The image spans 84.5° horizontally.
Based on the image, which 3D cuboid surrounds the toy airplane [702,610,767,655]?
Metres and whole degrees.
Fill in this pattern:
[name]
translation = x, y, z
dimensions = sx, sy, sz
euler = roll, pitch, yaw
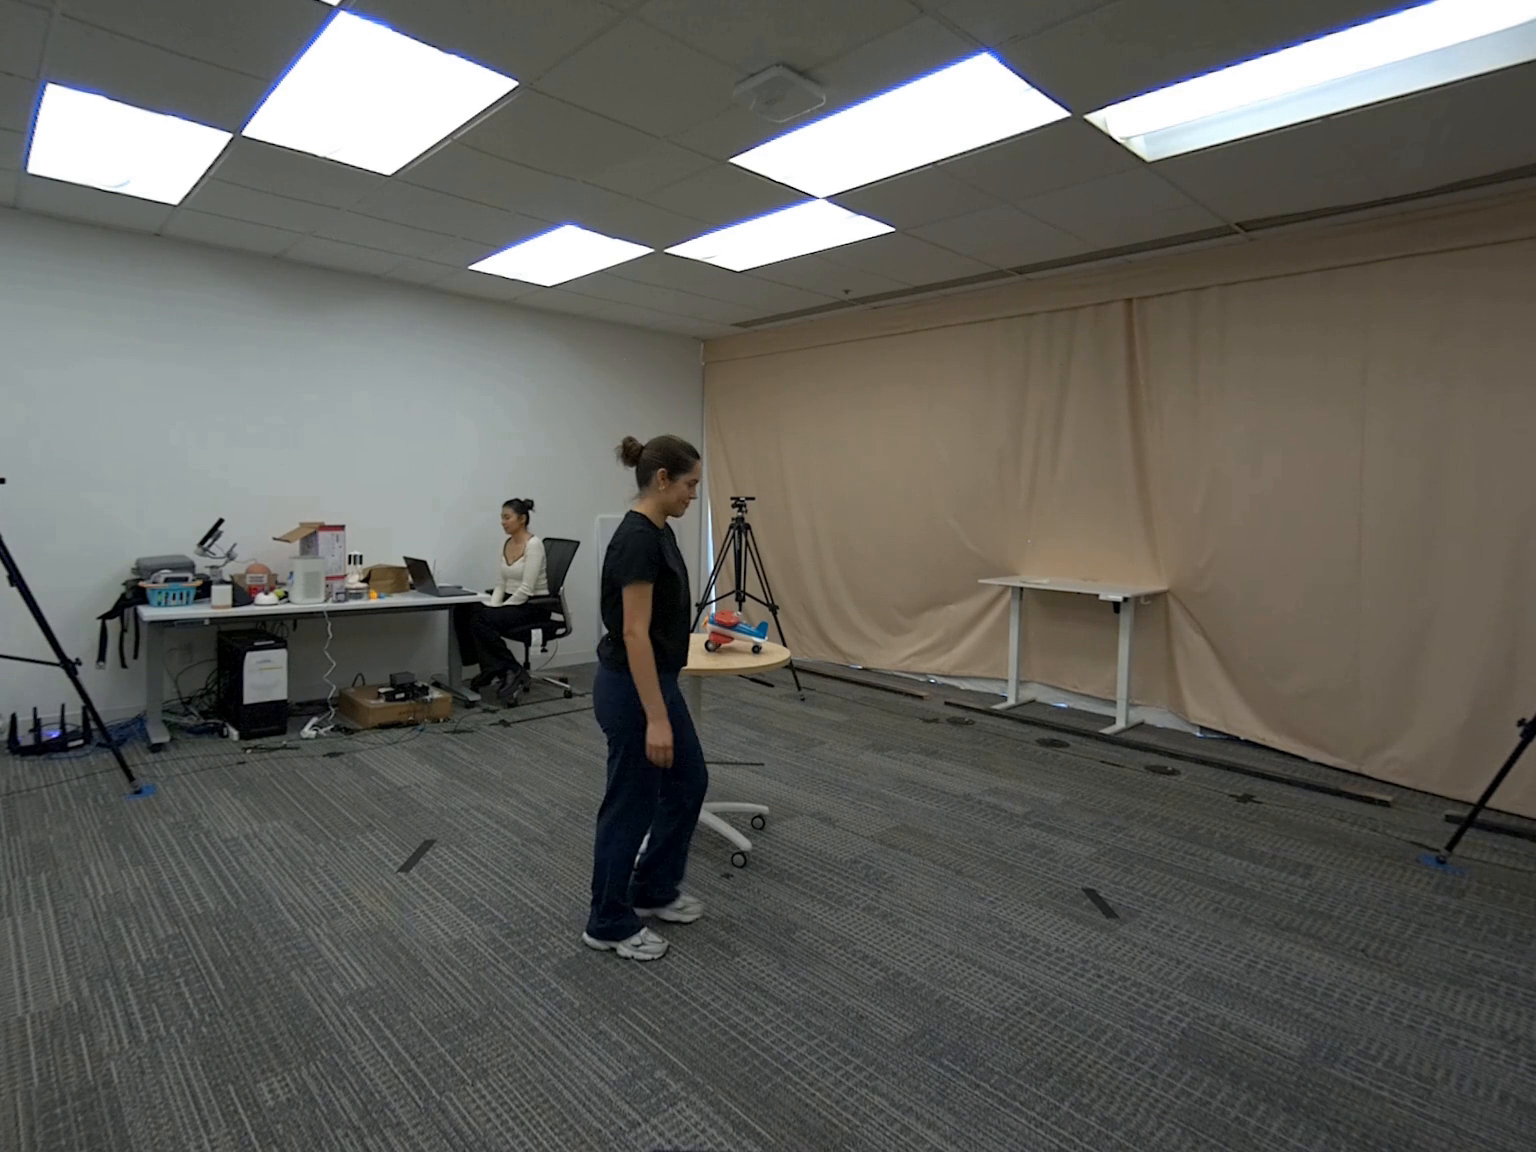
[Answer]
[toy airplane]
translation = -0.139, 0.225, 3.380
dimensions = 0.255, 0.156, 0.256
euler = 0, 7, -20
